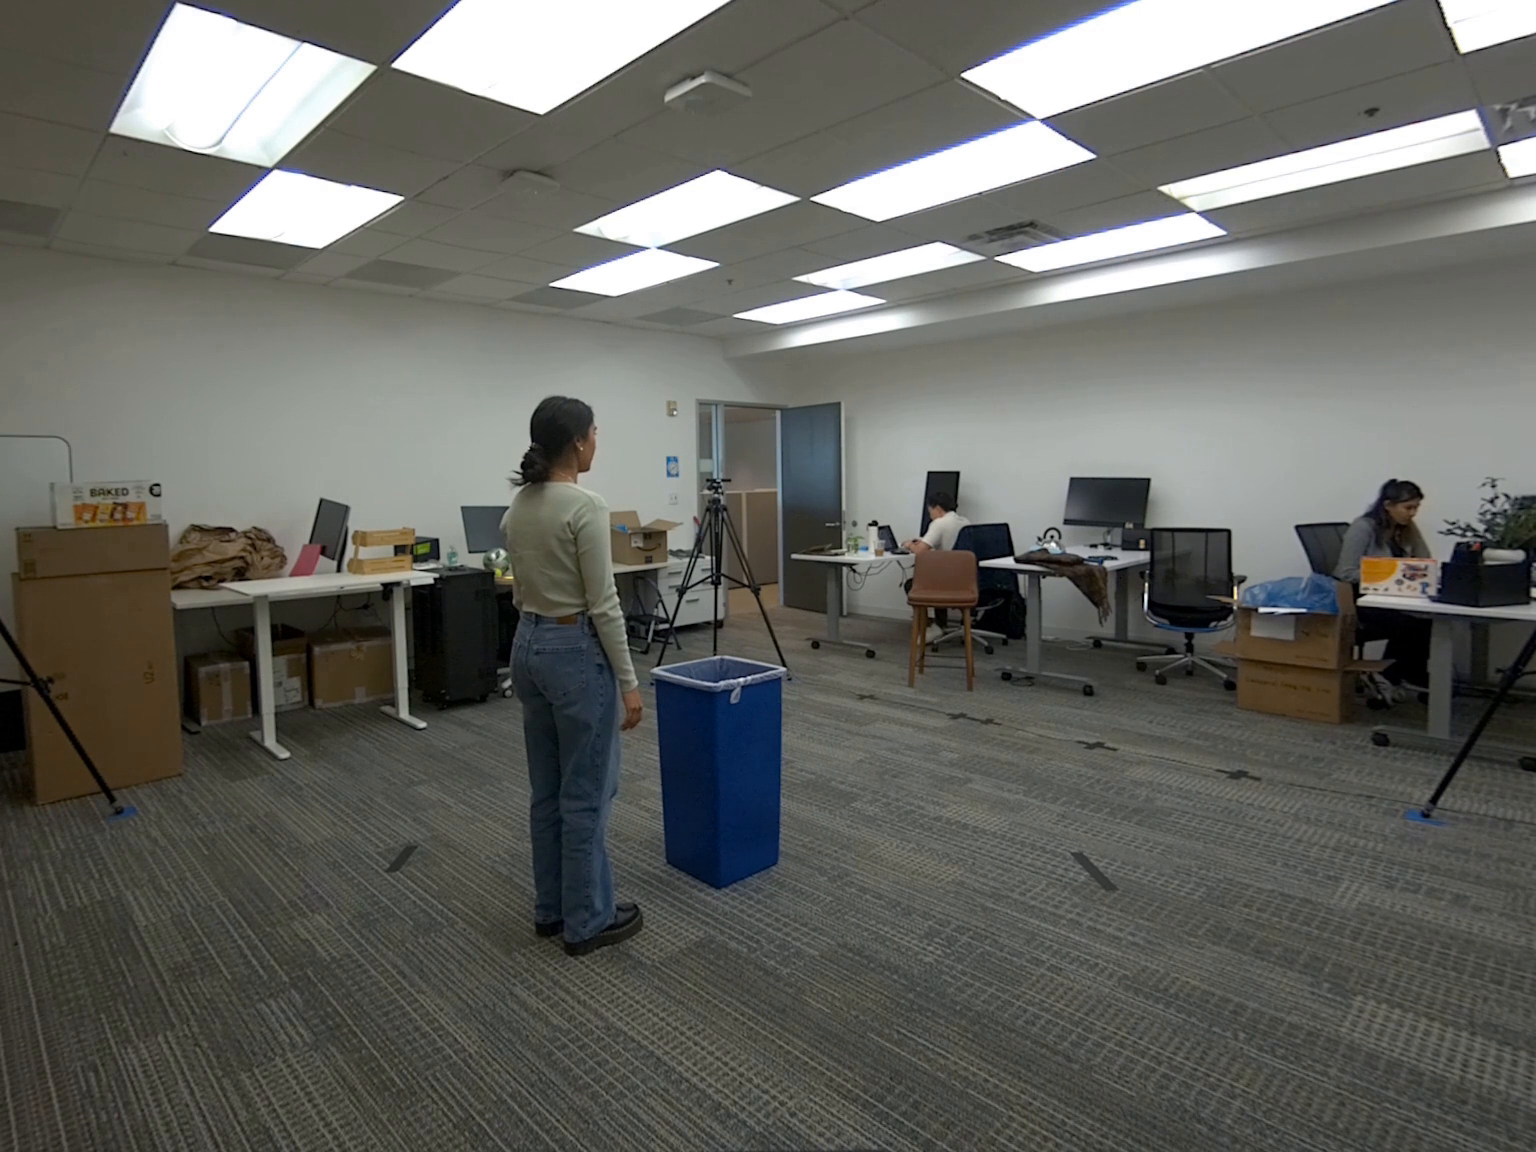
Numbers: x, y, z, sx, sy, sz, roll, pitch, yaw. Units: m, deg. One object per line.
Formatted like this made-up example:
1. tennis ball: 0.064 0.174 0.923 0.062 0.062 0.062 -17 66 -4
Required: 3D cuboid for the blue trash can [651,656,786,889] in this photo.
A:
1. blue trash can: -0.177 0.689 3.095 0.368 0.711 0.385 -4 5 -43
